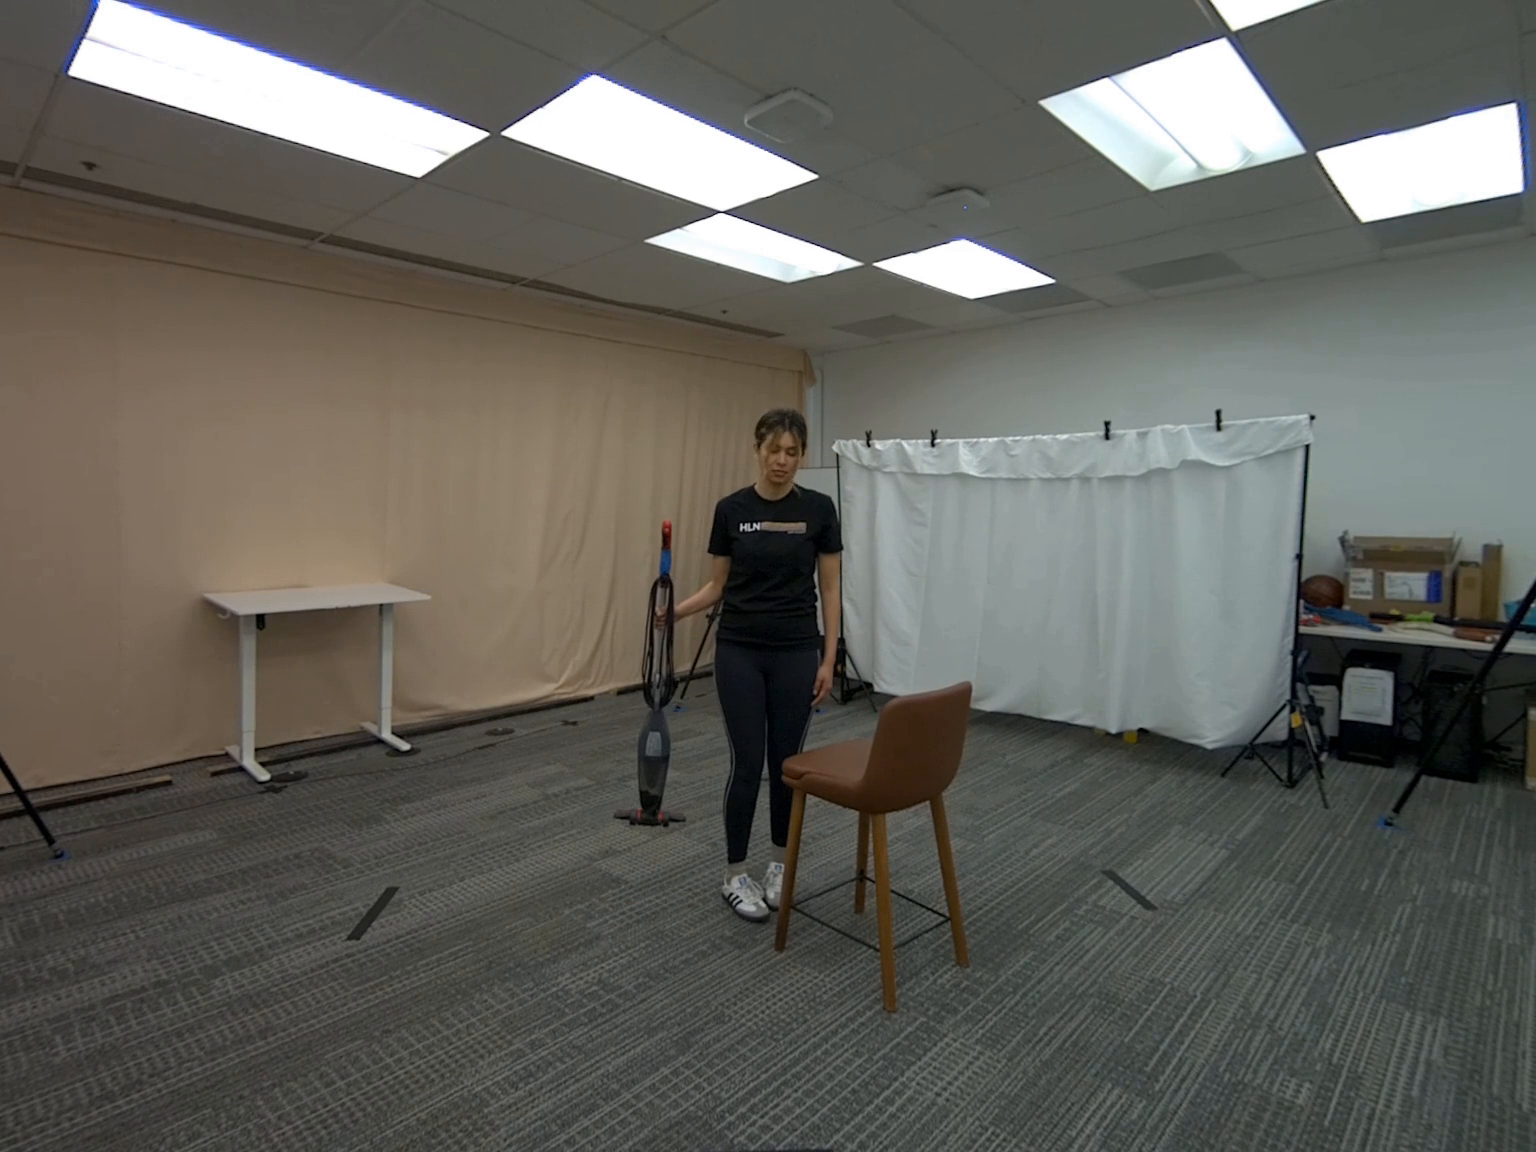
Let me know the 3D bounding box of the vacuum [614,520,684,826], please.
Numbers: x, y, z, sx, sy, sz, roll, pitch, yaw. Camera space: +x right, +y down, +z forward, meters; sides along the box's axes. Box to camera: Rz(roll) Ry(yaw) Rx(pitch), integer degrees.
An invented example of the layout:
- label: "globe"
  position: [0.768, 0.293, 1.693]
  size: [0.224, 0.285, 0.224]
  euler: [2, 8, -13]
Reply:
- label: "vacuum"
  position: [-0.365, 0.344, 2.793]
  size: [0.250, 1.043, 0.146]
  euler: [4, 11, -10]
